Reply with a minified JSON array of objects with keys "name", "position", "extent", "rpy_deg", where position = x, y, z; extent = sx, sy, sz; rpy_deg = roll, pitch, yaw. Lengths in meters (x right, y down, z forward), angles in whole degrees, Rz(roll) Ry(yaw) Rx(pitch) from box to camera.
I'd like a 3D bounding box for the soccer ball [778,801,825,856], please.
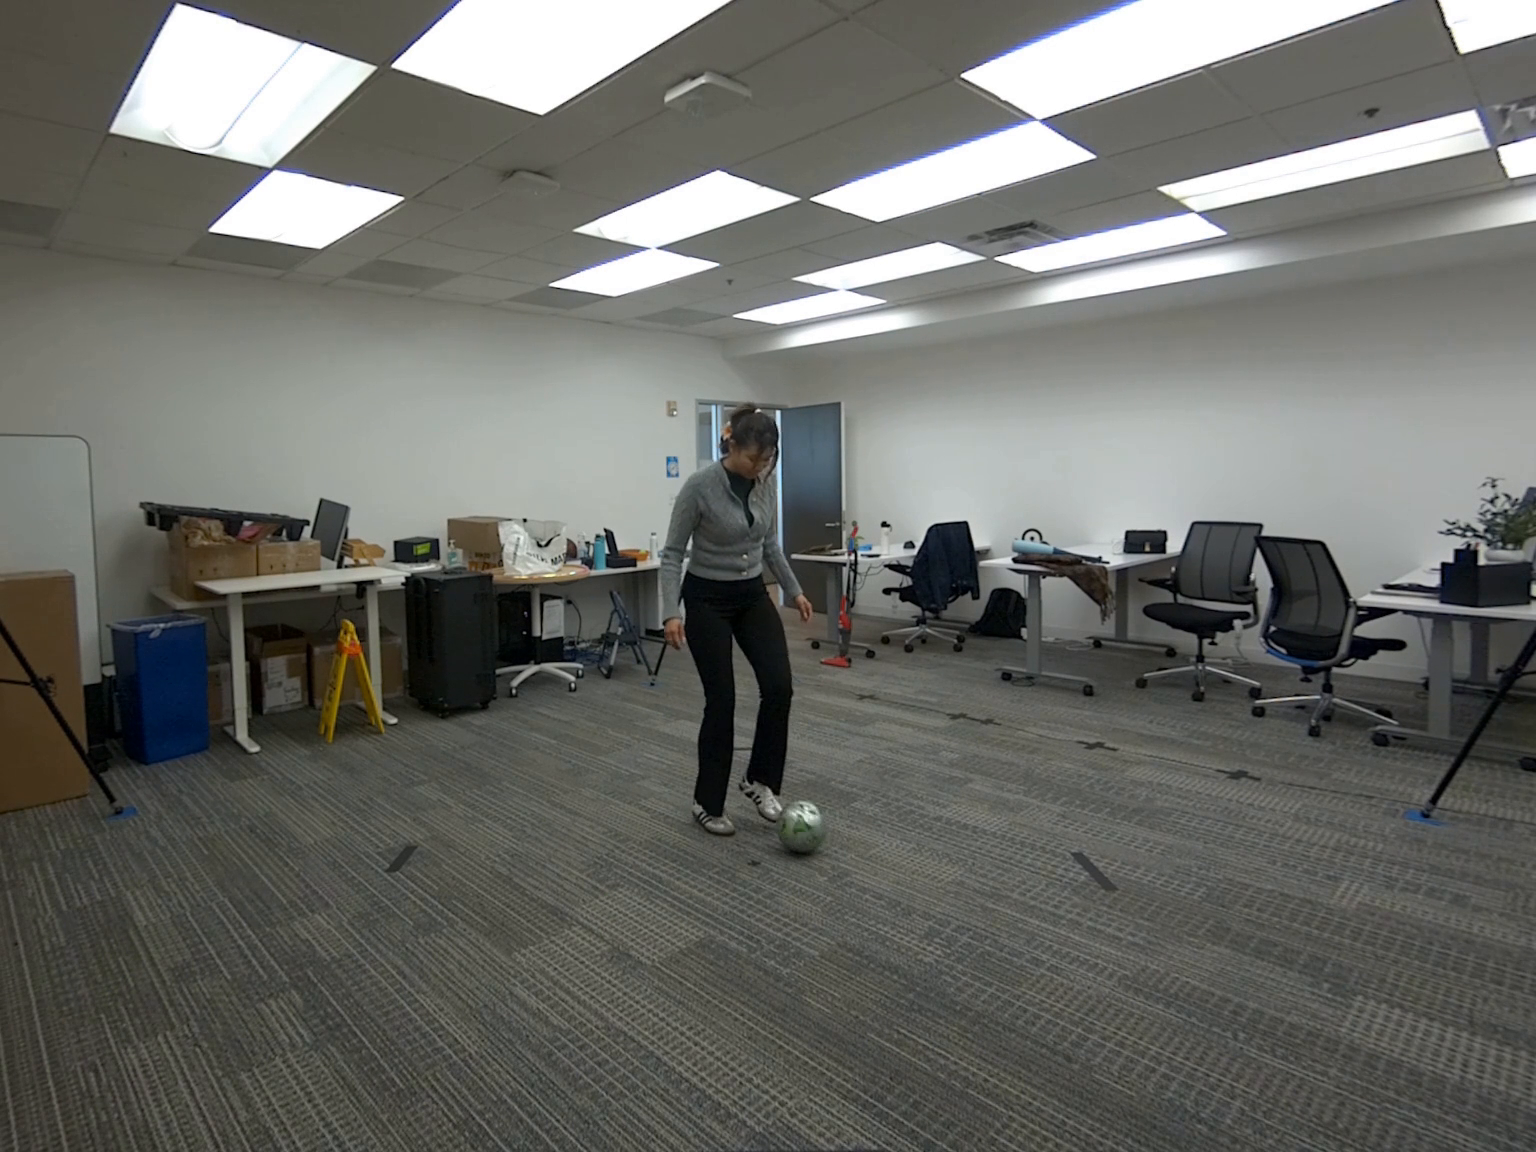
[{"name":"soccer ball","position":[0.133,0.938,3.192],"extent":[0.187,0.187,0.188],"rpy_deg":[-1,5,-2]}]
